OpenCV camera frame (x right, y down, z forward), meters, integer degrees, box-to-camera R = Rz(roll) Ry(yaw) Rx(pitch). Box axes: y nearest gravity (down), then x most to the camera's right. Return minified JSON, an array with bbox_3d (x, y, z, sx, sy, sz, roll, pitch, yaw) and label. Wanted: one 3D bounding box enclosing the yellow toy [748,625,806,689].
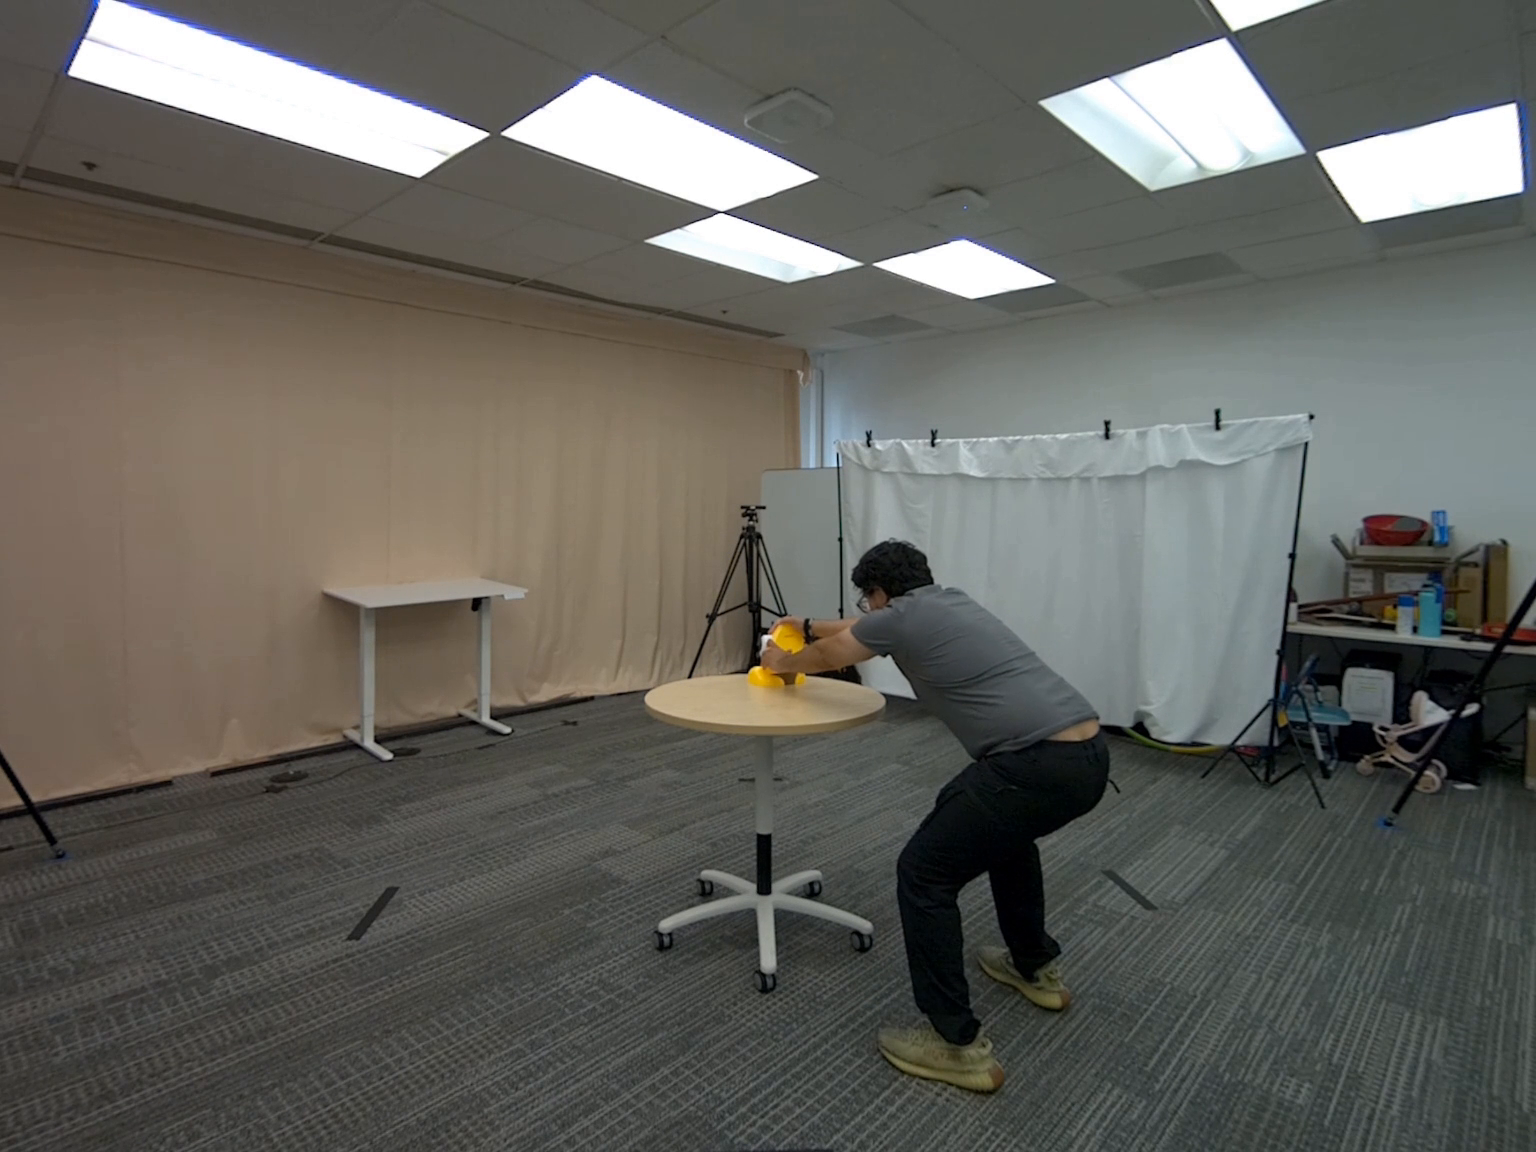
[{"bbox_3d":[0.039,0.258,2.939,0.199,0.230,0.199,-3,4,-32],"label":"yellow toy"}]
